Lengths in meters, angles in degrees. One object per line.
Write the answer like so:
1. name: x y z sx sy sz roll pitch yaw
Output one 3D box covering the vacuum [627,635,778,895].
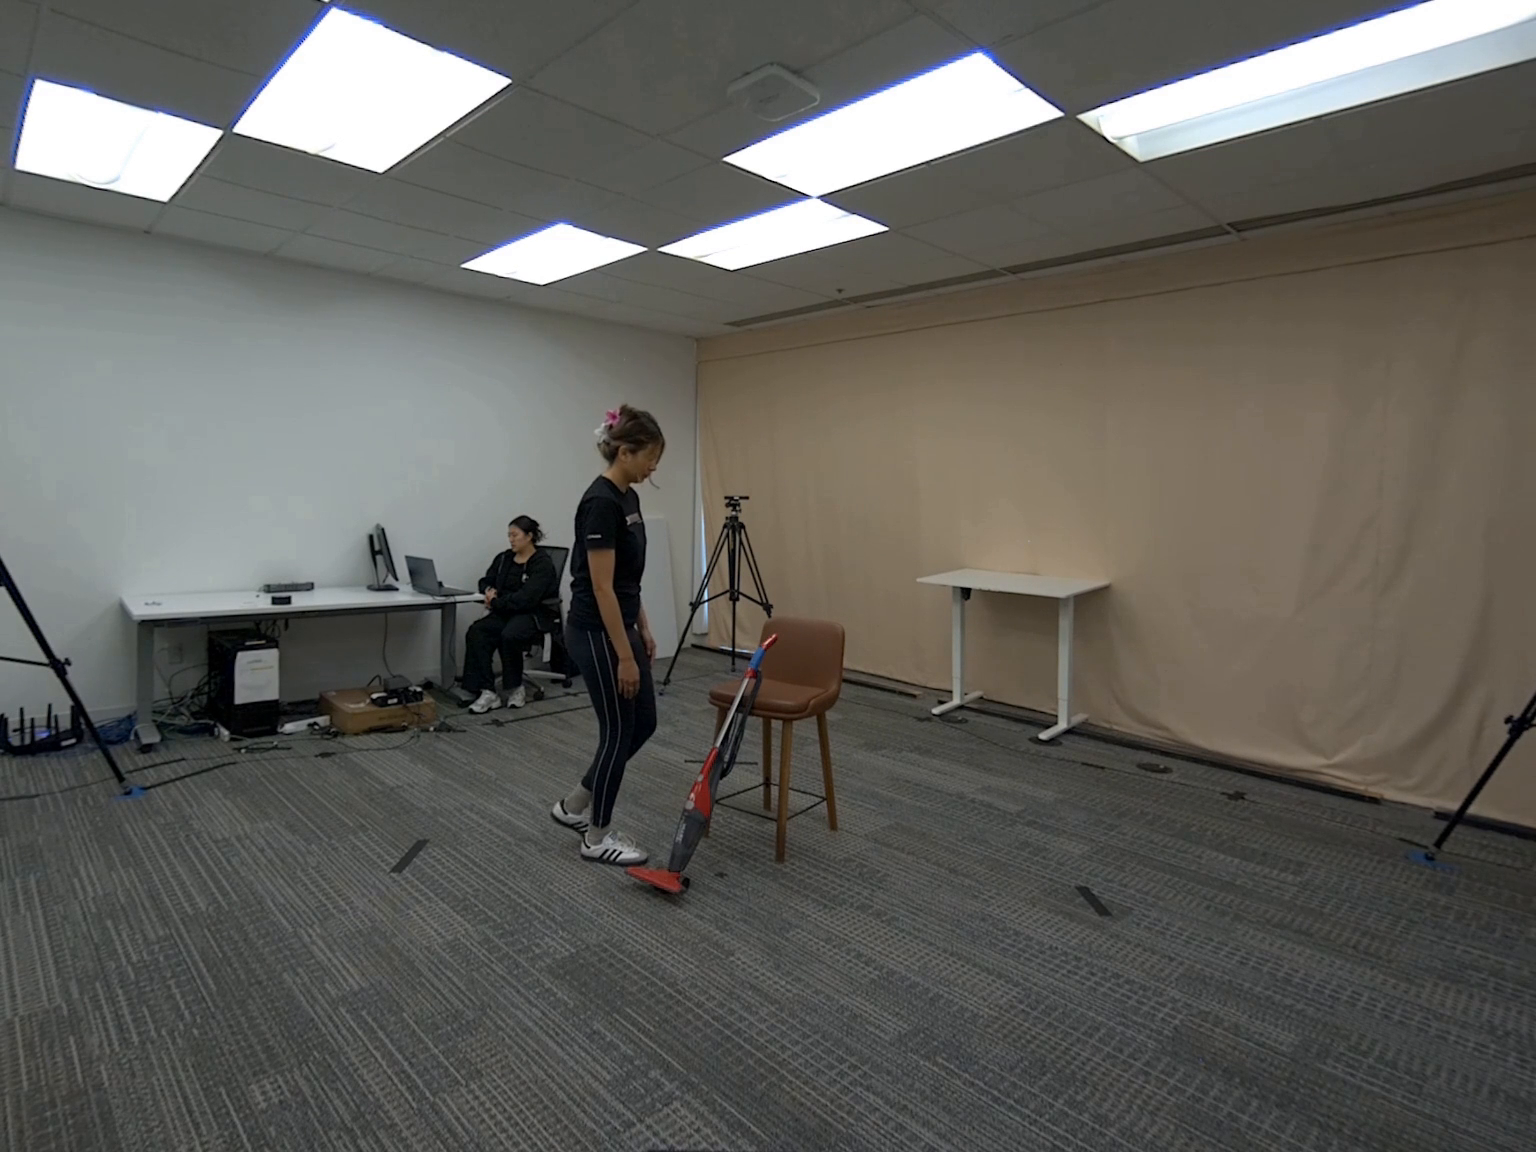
1. vacuum: -0.188 0.672 3.197 0.259 1.057 0.139 4 -35 35
